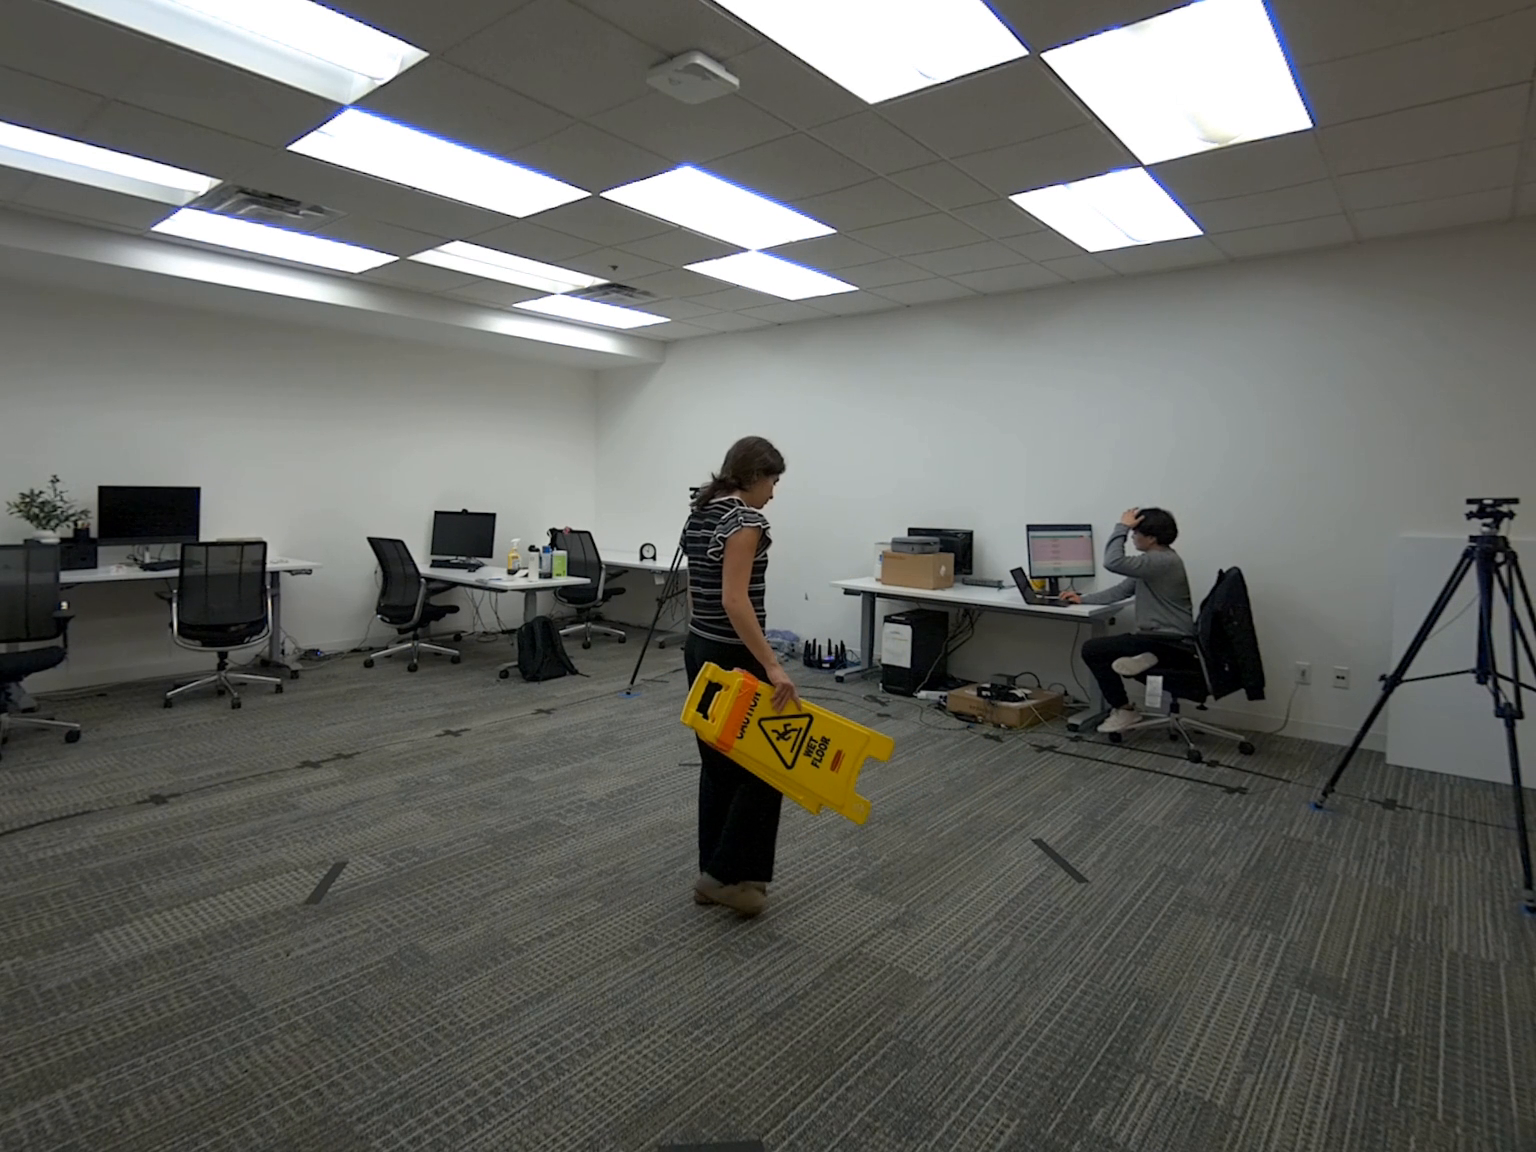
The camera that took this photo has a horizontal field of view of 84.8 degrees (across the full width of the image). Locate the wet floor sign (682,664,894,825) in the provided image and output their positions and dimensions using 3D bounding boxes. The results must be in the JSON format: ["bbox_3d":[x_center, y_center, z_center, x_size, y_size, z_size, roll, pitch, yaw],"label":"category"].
[{"bbox_3d":[0.023,0.493,2.631,0.628,0.284,0.296,32,-19,-21],"label":"wet floor sign"}]
